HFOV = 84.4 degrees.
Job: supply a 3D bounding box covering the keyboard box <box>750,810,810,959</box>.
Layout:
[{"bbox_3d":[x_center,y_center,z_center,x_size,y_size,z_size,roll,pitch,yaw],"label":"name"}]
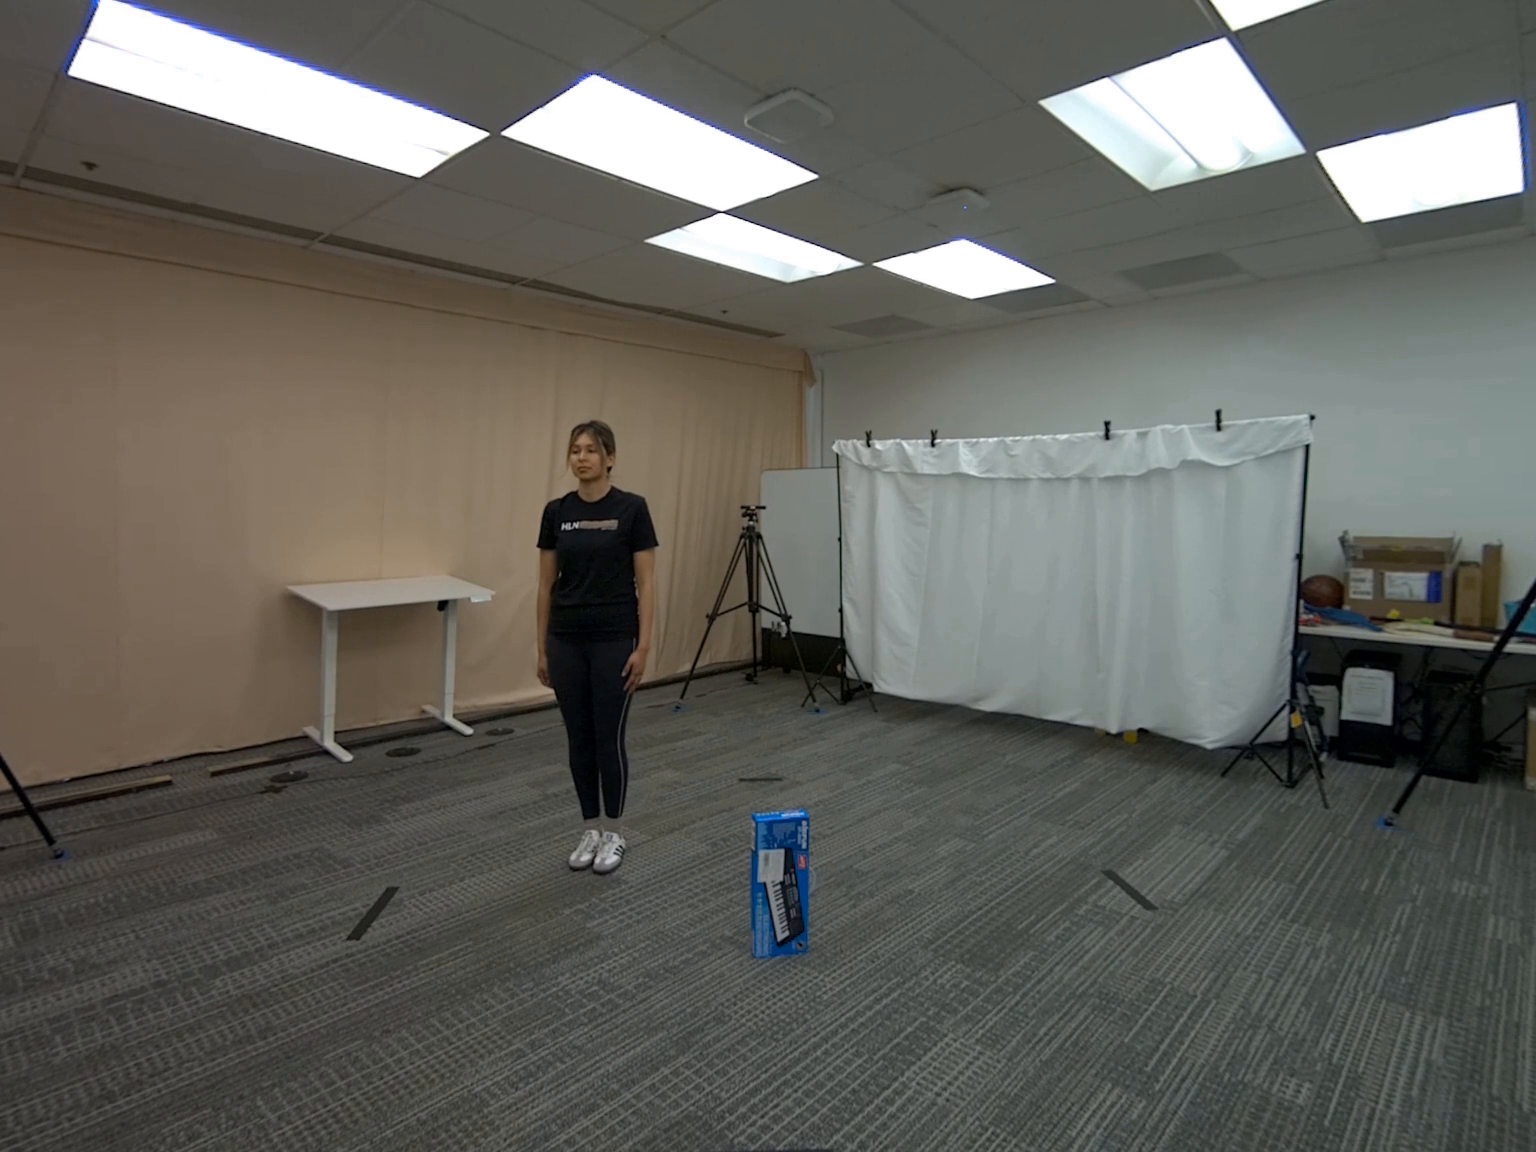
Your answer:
[{"bbox_3d":[0.039,0.957,2.615,0.174,0.435,0.060,0,5,-12],"label":"keyboard box"}]
